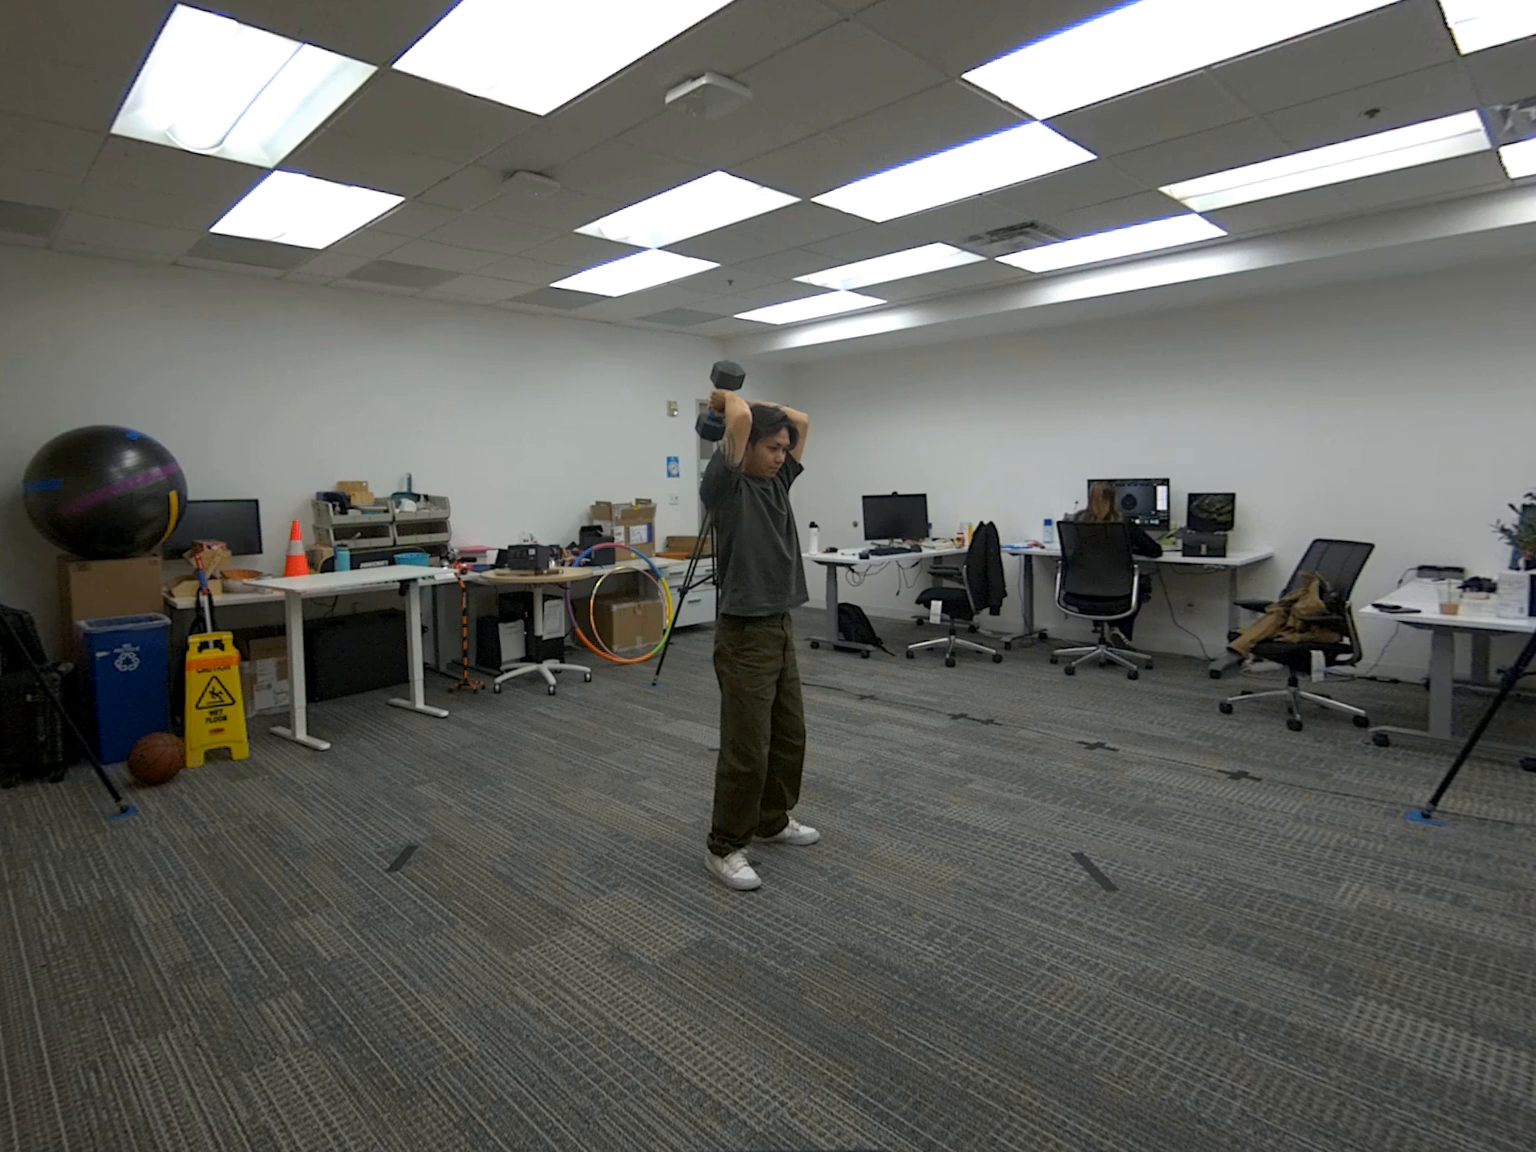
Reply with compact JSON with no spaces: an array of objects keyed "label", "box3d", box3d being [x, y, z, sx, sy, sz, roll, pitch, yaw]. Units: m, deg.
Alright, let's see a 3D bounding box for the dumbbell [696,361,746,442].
[{"label":"dumbbell","box3d":[-0.171,-0.650,3.173,0.106,0.289,0.127,4,36,-25]}]
